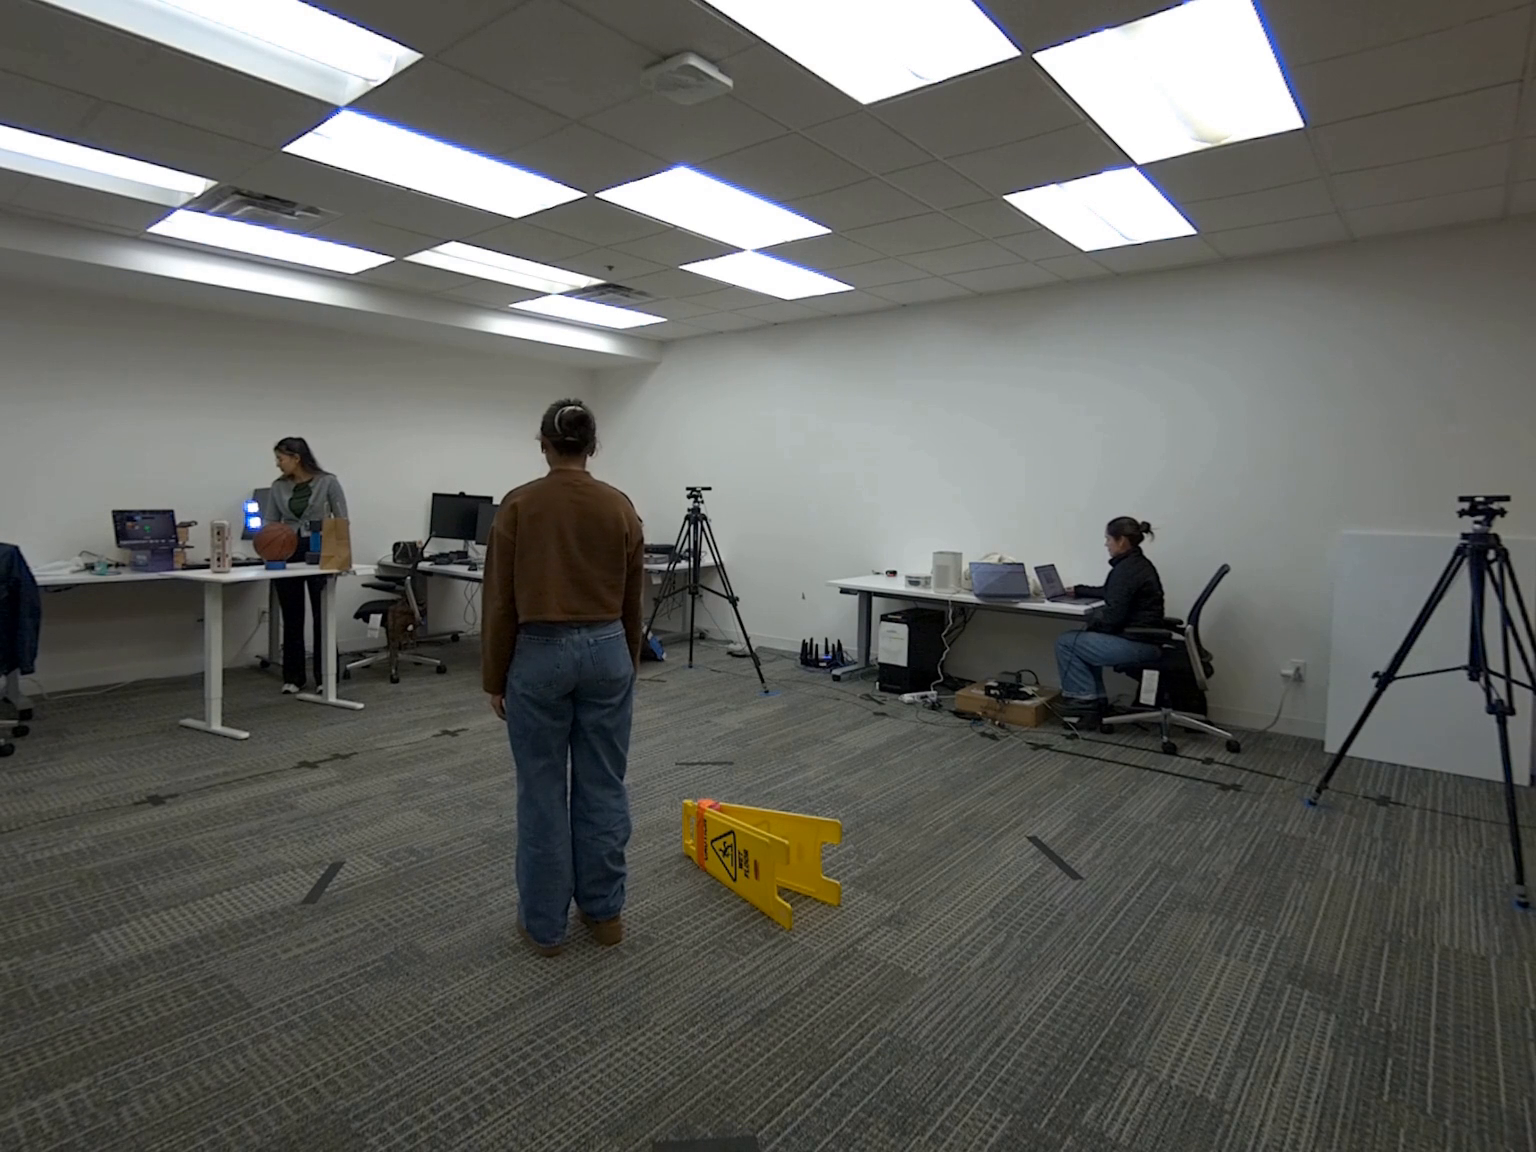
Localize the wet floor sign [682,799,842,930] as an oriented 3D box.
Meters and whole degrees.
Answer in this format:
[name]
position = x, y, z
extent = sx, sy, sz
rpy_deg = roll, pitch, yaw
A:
[wet floor sign]
position = -0.094, 0.953, 2.988
extent = 0.667, 0.282, 0.281
rpy_deg = 2, 3, 44
